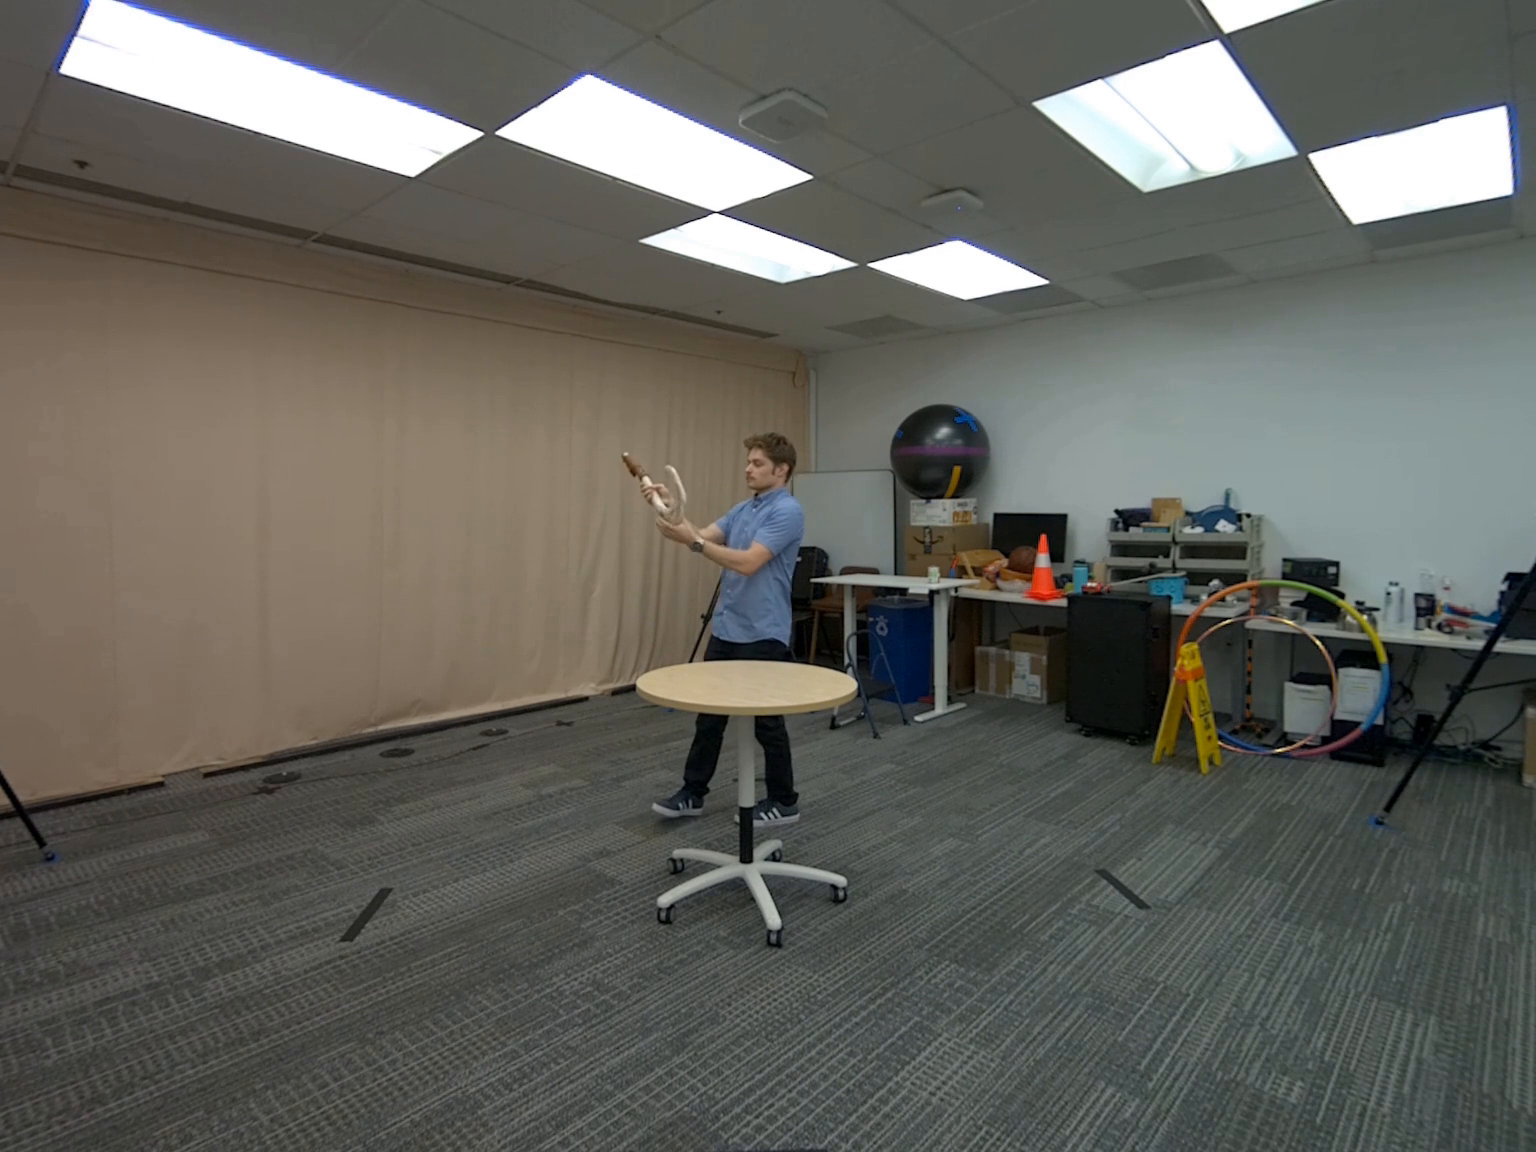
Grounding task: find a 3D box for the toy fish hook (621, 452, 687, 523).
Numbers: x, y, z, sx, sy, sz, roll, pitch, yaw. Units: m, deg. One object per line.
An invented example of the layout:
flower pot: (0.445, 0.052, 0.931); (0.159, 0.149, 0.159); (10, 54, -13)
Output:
toy fish hook: (-0.475, -0.417, 3.547); (0.047, 0.224, 0.524); (-2, 39, -42)
